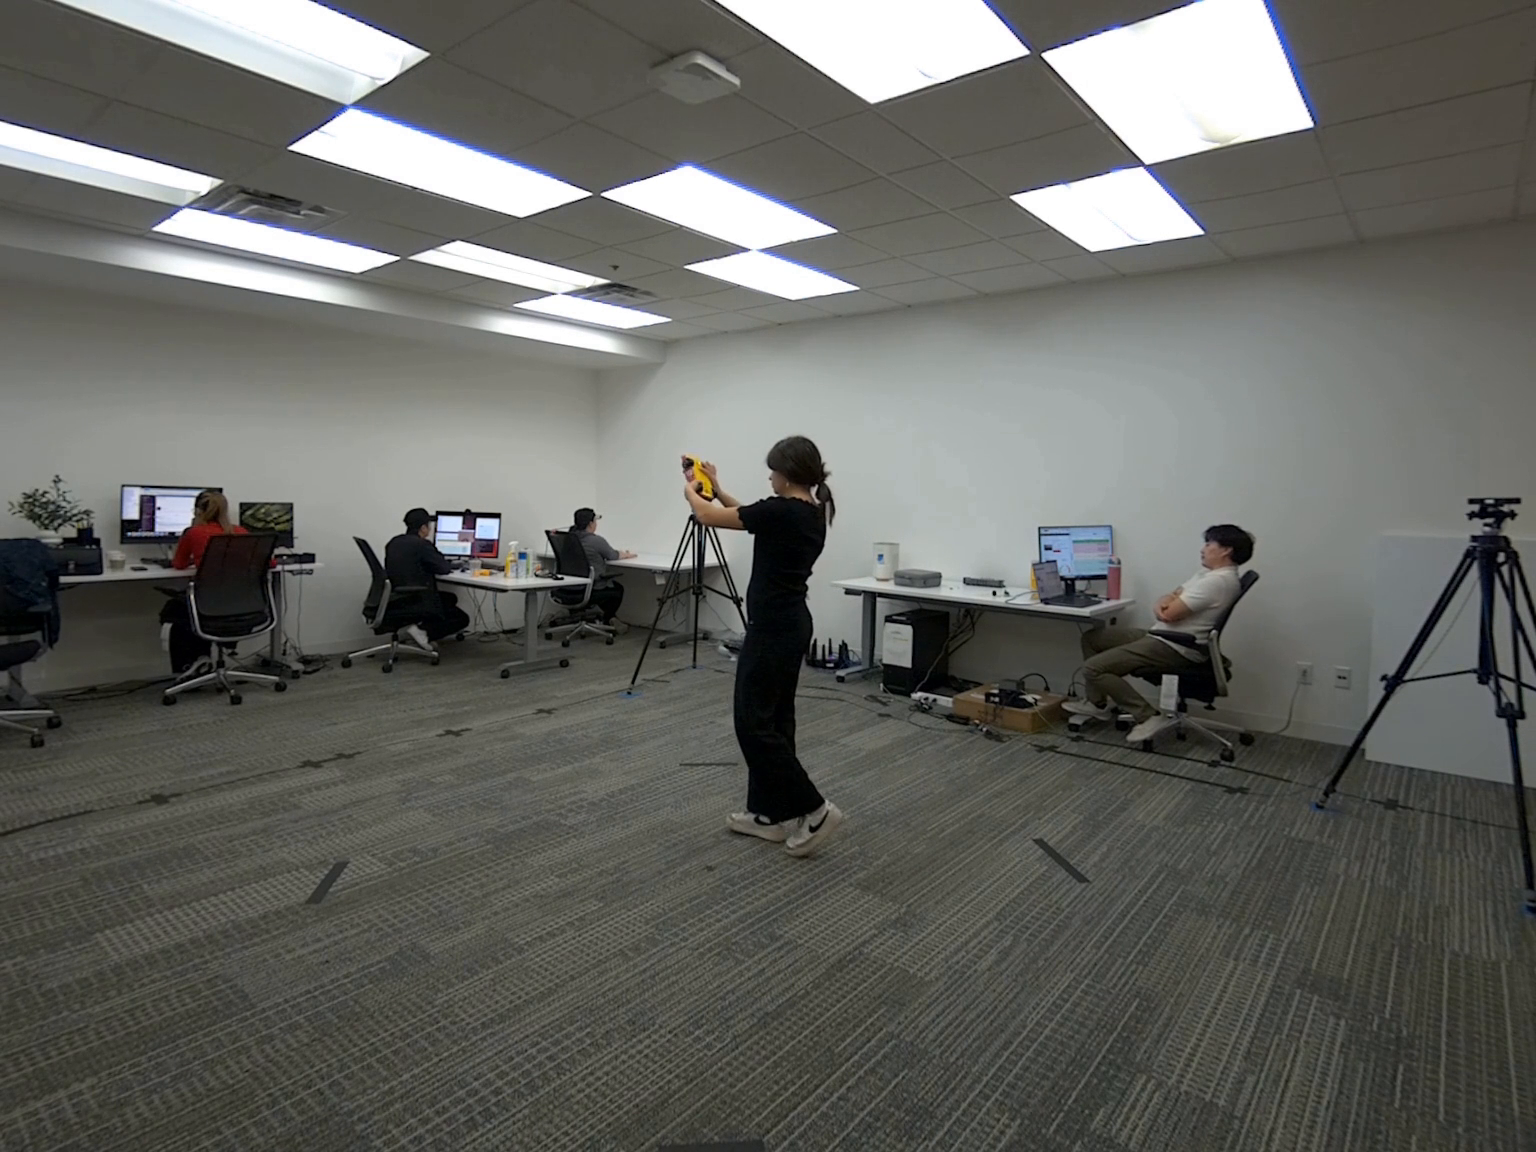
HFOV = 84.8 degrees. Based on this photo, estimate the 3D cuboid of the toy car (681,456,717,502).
[{"bbox_3d":[-0.313,-0.431,3.636,0.125,0.083,0.265,17,31,-44],"label":"toy car"}]
